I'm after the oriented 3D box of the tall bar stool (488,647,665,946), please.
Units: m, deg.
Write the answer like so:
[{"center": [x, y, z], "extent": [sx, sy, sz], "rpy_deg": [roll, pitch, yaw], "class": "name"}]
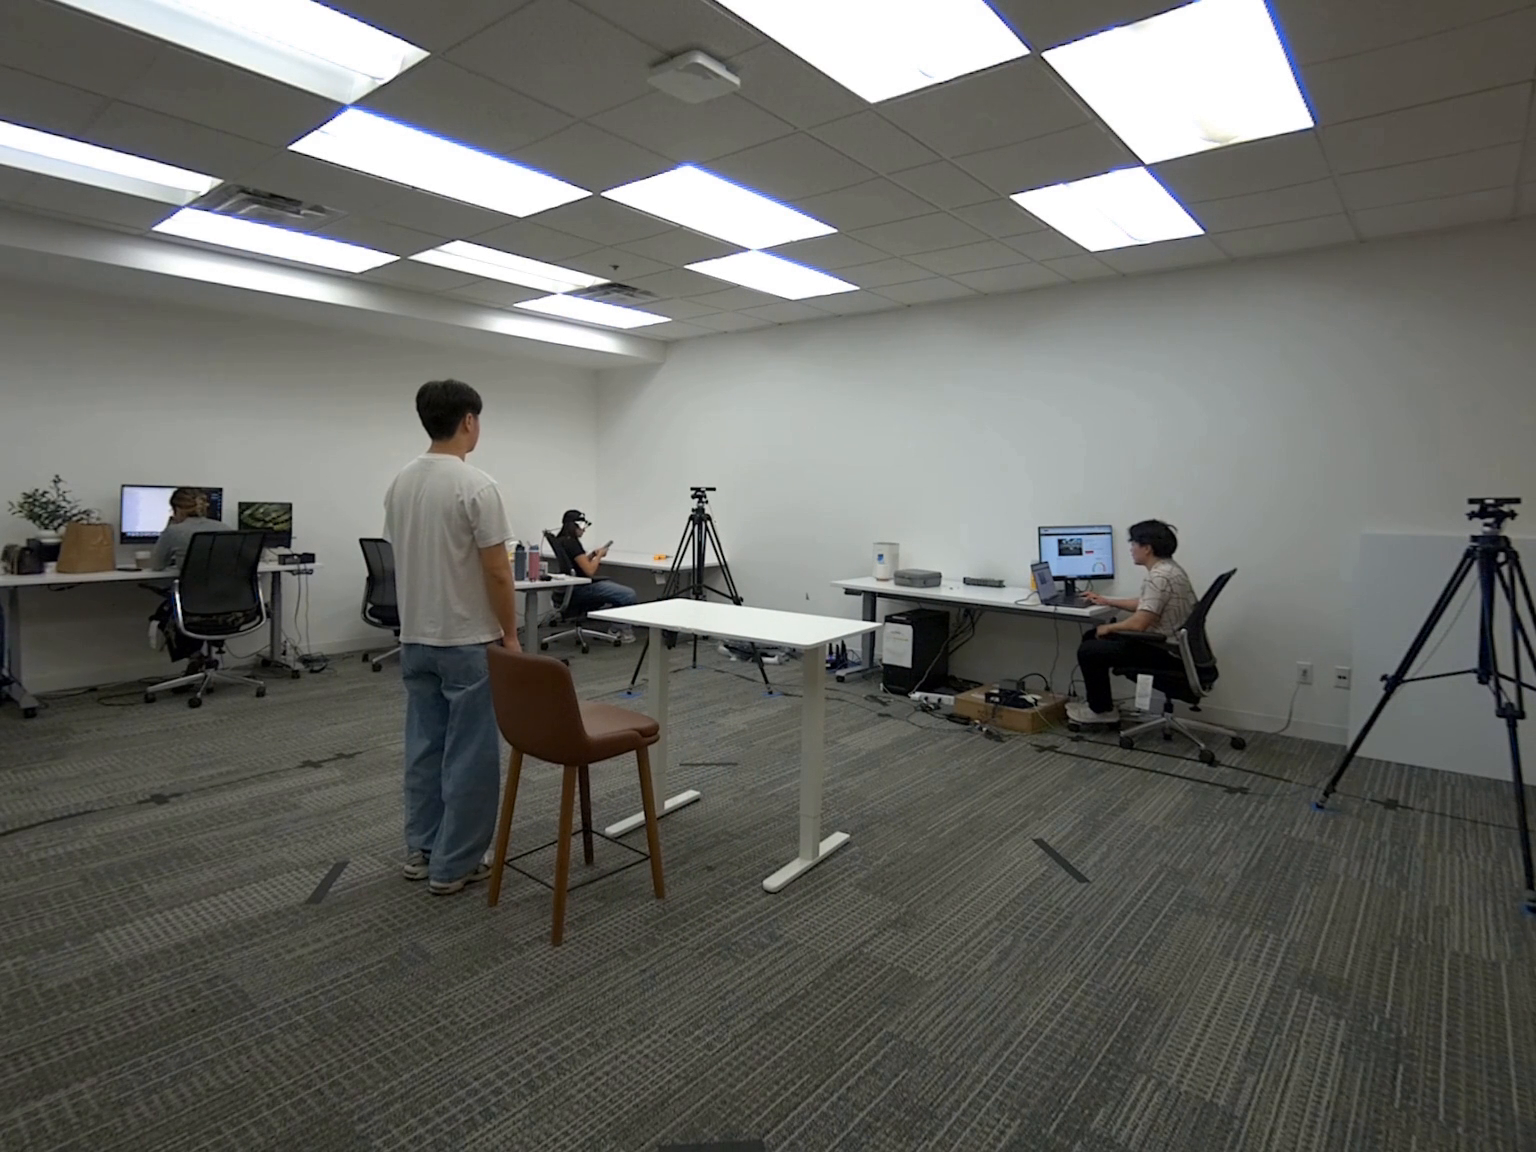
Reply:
[{"center": [-0.644, 0.649, 2.822], "extent": [0.472, 0.886, 0.454], "rpy_deg": [3, 6, 41], "class": "tall bar stool"}]
